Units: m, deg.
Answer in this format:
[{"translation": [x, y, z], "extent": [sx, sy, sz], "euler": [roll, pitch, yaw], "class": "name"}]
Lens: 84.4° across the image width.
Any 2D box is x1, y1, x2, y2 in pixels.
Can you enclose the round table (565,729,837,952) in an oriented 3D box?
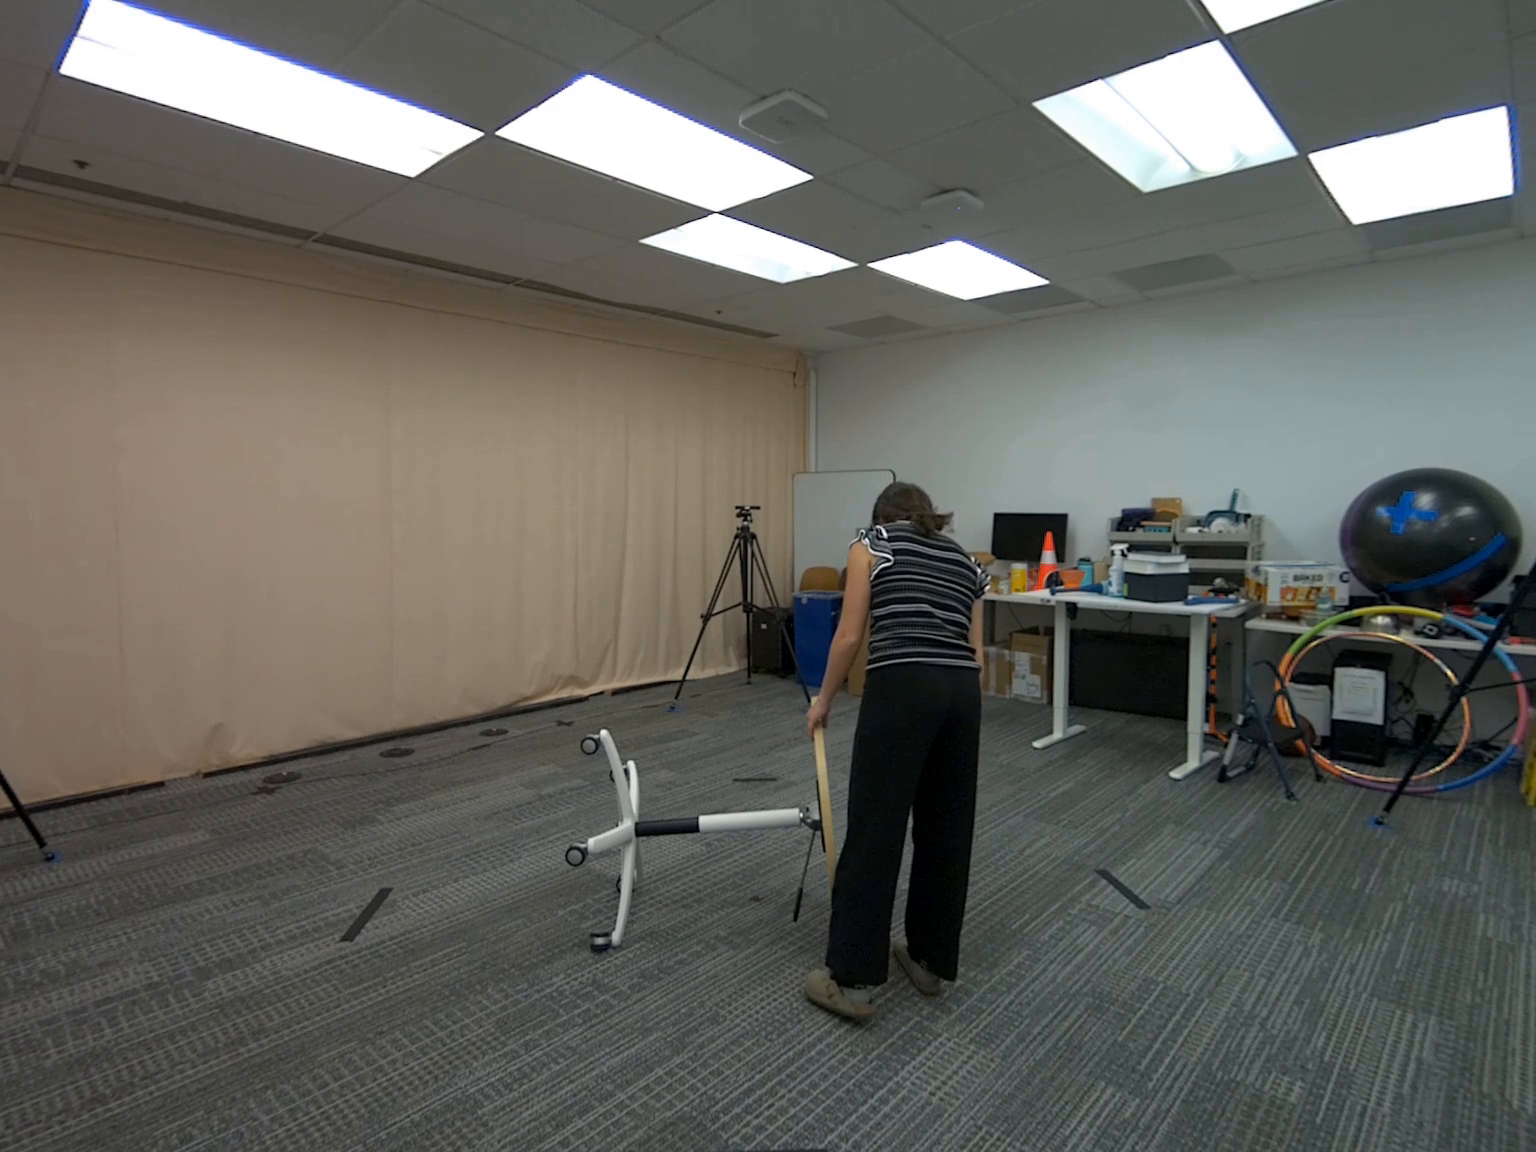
[{"translation": [-0.192, 0.823, 2.788], "extent": [0.791, 0.783, 0.782], "euler": [-6, 3, 5], "class": "round table"}]
